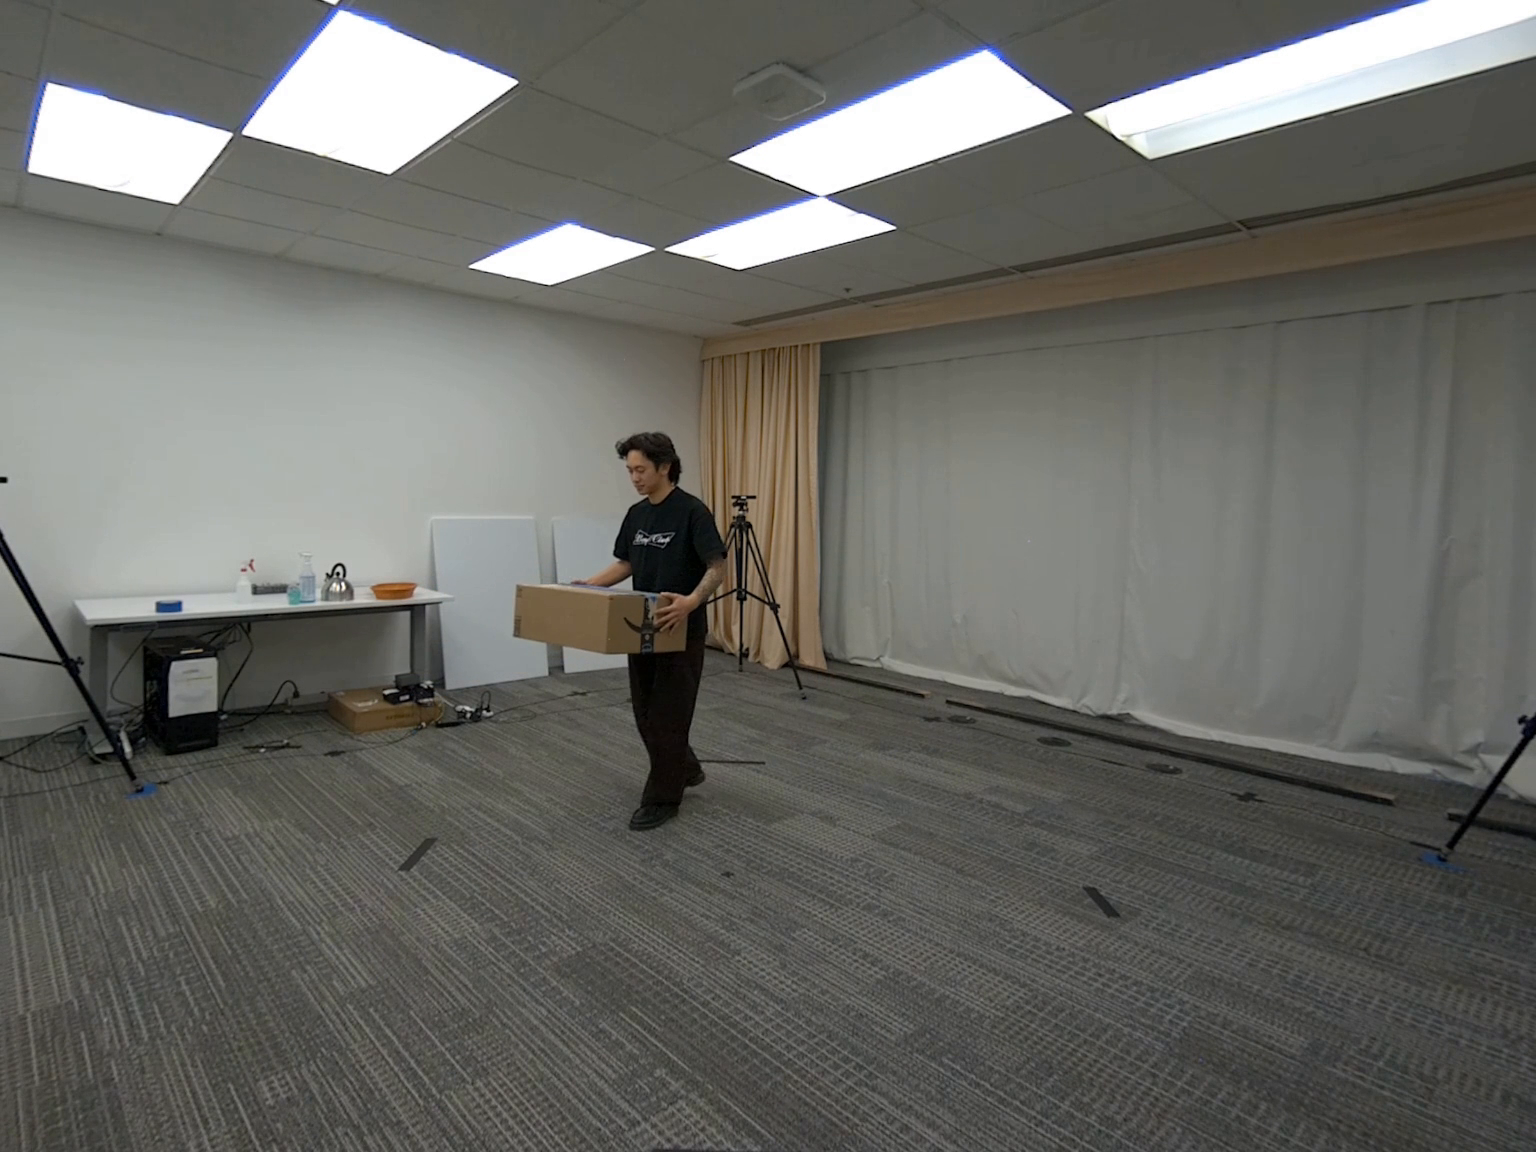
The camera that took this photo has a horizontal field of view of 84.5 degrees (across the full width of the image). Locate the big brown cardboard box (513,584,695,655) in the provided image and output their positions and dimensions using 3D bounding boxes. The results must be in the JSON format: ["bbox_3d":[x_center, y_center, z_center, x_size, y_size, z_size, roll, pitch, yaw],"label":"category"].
[{"bbox_3d":[-0.678,0.160,3.357,0.604,0.233,0.407,7,2,39],"label":"big brown cardboard box"}]
